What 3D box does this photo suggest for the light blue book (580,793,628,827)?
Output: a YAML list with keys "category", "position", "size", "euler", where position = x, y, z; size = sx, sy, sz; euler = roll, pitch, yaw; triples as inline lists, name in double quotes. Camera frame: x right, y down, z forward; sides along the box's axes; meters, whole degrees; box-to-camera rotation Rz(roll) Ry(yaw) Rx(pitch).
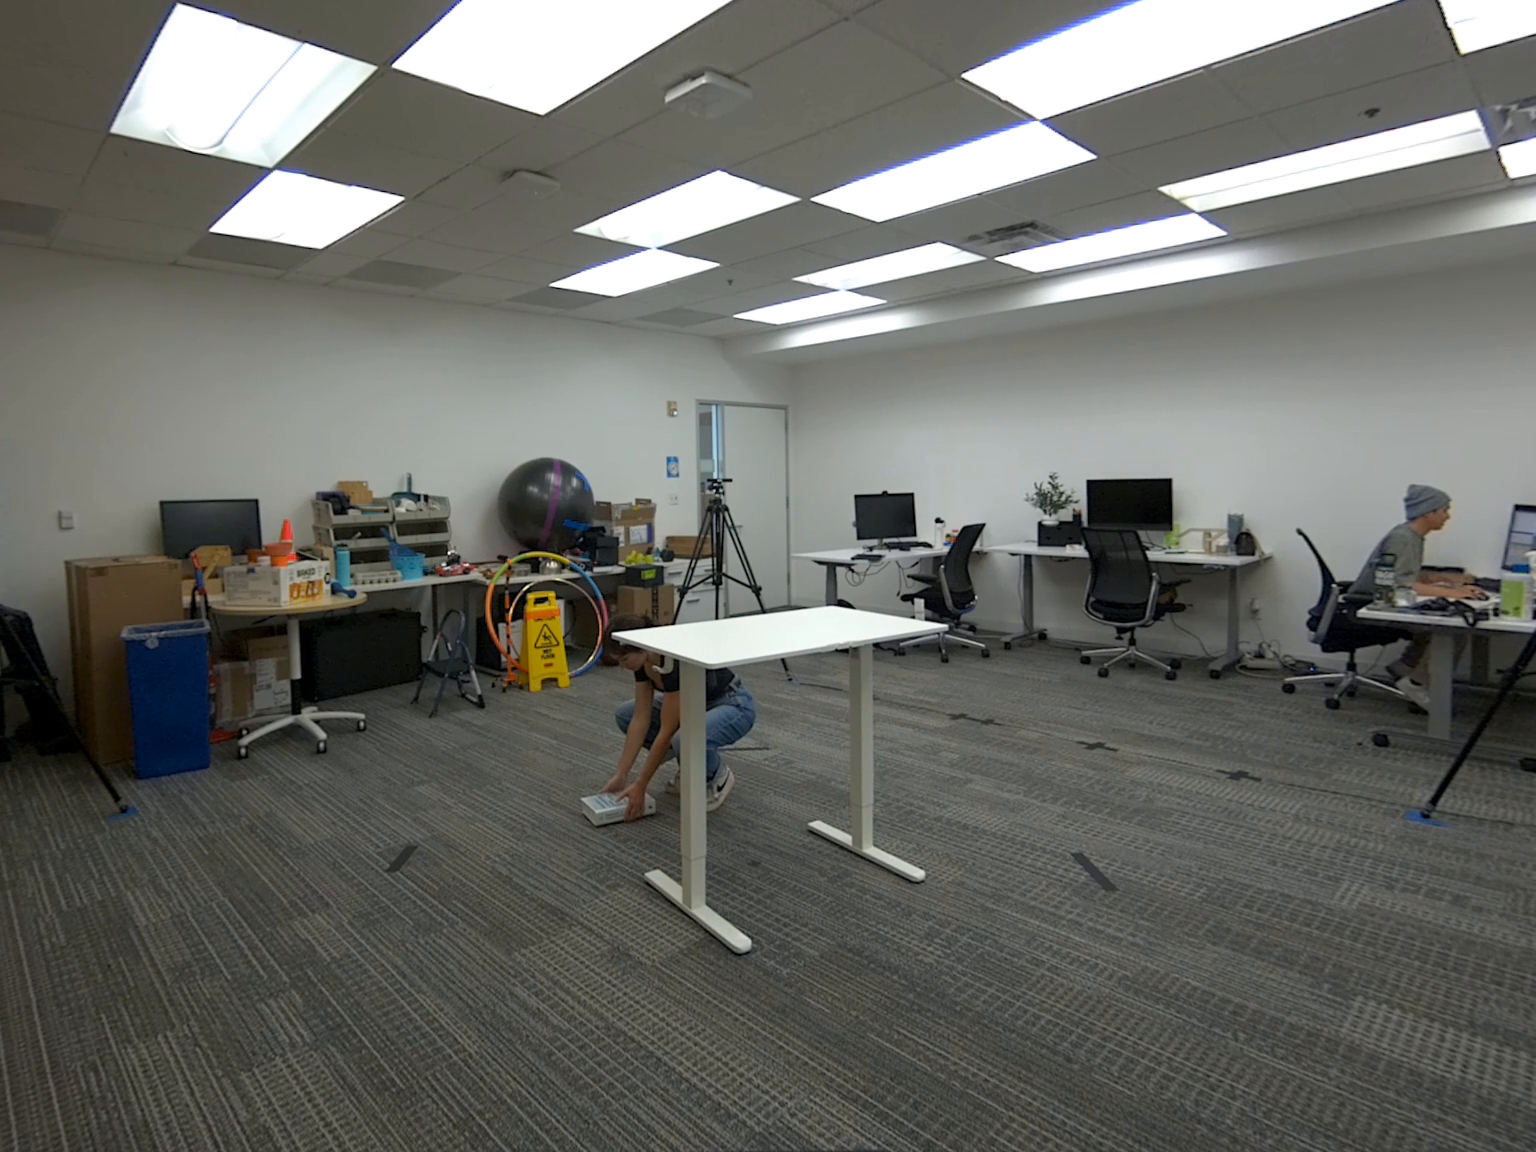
- category: "light blue book"
  position: [-0.635, 0.966, 3.584]
  size: [0.255, 0.059, 0.197]
  euler: [-4, 6, -30]
